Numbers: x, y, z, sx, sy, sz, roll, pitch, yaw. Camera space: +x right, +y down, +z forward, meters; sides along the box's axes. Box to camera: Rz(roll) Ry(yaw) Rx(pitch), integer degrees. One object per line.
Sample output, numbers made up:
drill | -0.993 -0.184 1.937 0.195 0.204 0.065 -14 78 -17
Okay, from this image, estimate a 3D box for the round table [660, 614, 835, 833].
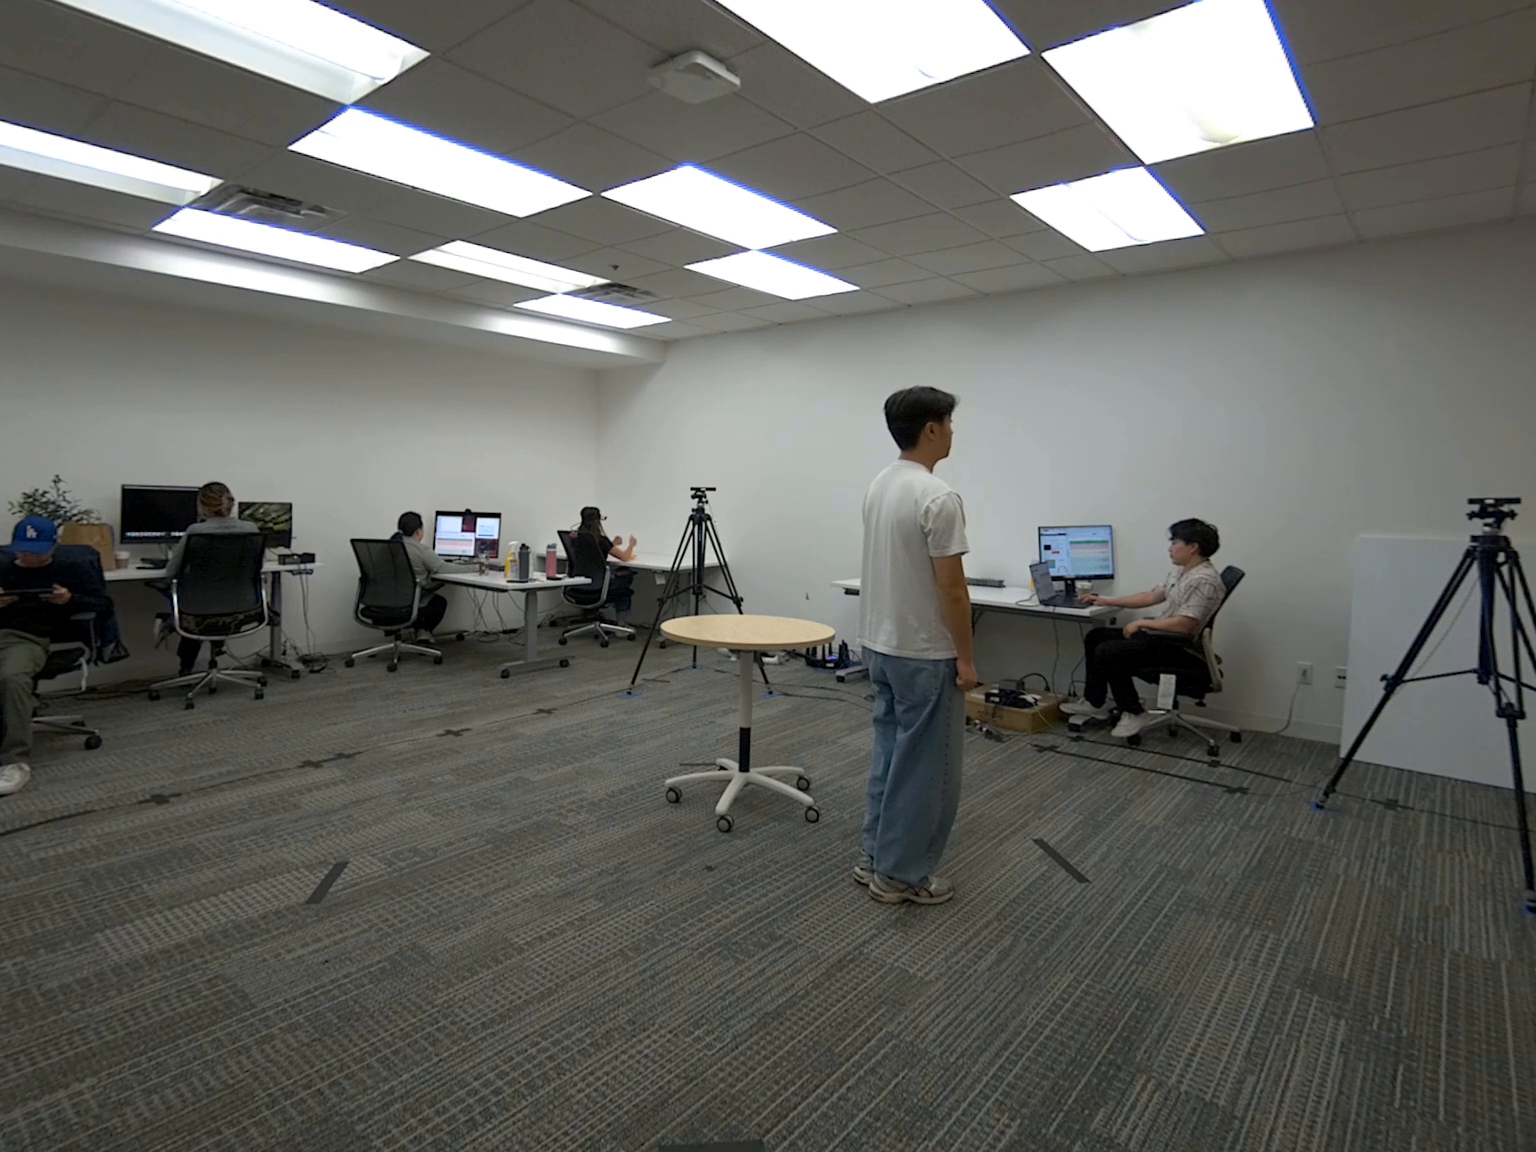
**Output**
round table | -0.102 0.617 3.758 0.763 0.791 0.768 1 4 -2
